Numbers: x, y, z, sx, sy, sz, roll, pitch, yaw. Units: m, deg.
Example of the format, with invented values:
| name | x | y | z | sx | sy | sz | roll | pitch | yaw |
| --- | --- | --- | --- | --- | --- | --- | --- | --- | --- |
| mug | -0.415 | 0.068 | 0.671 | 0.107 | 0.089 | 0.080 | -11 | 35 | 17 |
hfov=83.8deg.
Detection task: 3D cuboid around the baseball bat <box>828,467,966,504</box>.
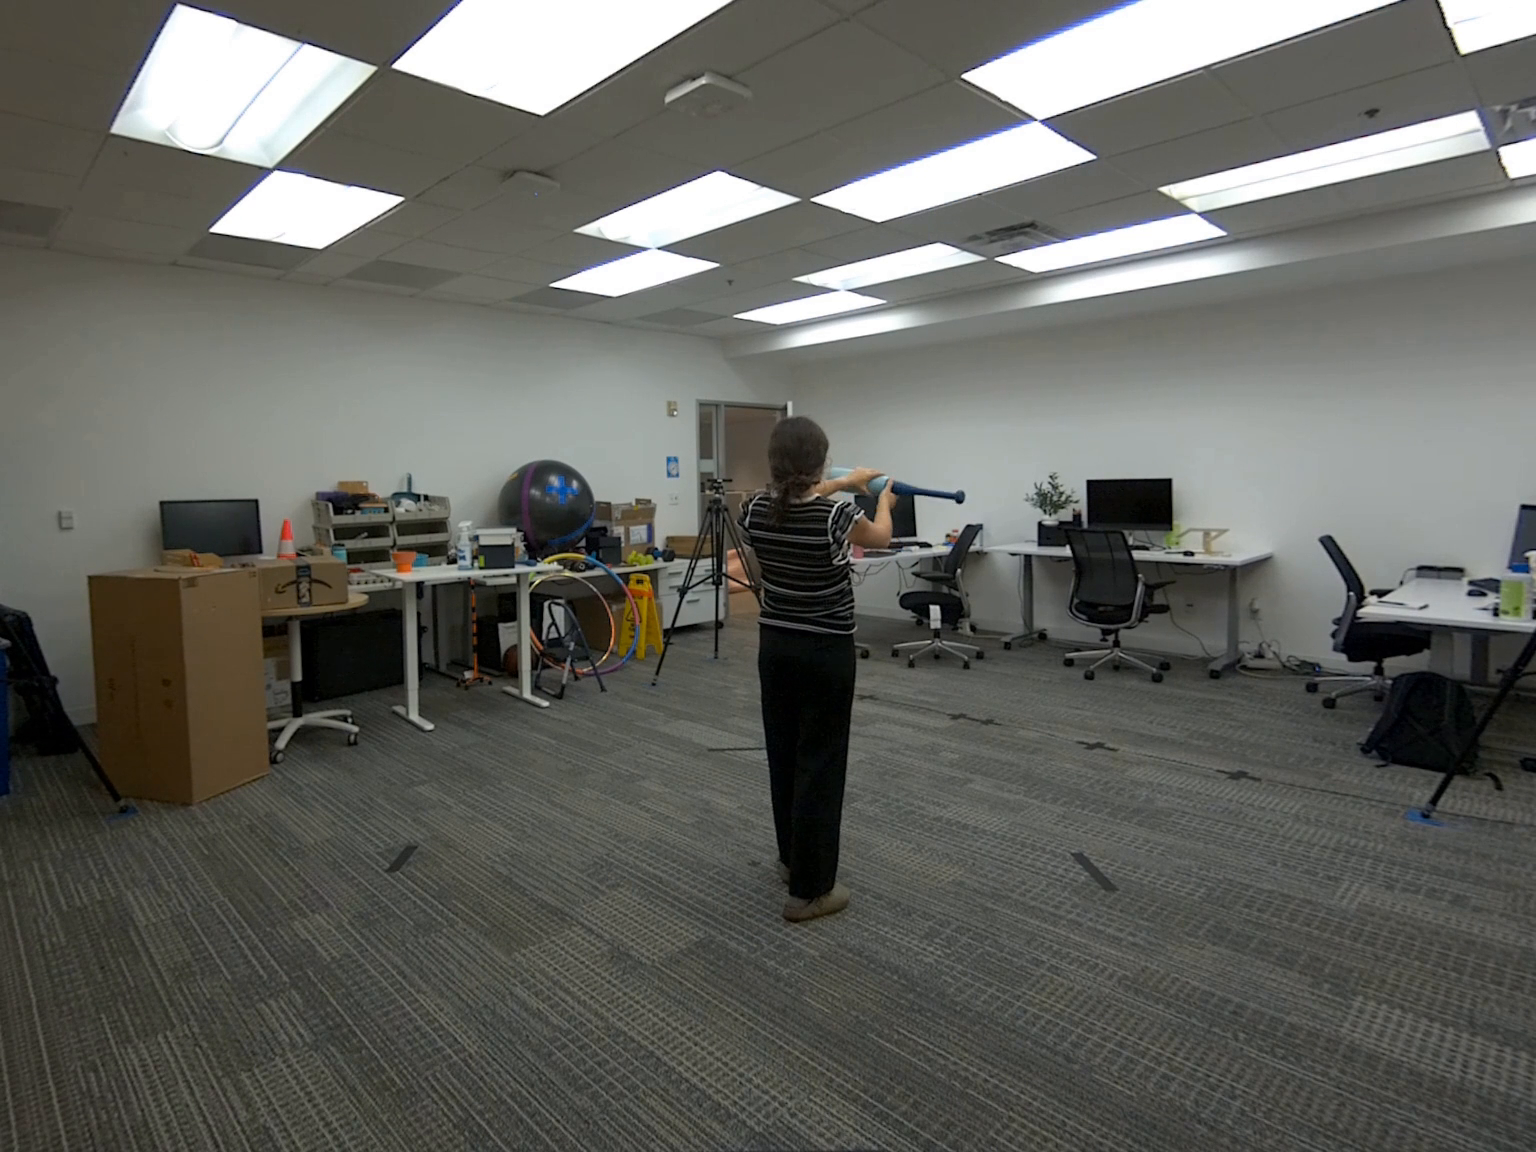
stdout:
| name | x | y | z | sx | sy | sz | roll | pitch | yaw |
| --- | --- | --- | --- | --- | --- | --- | --- | --- | --- |
| baseball bat | 0.459 | -0.323 | 3.149 | 0.561 | 0.088 | 0.087 | 14 | 13 | 36 |
